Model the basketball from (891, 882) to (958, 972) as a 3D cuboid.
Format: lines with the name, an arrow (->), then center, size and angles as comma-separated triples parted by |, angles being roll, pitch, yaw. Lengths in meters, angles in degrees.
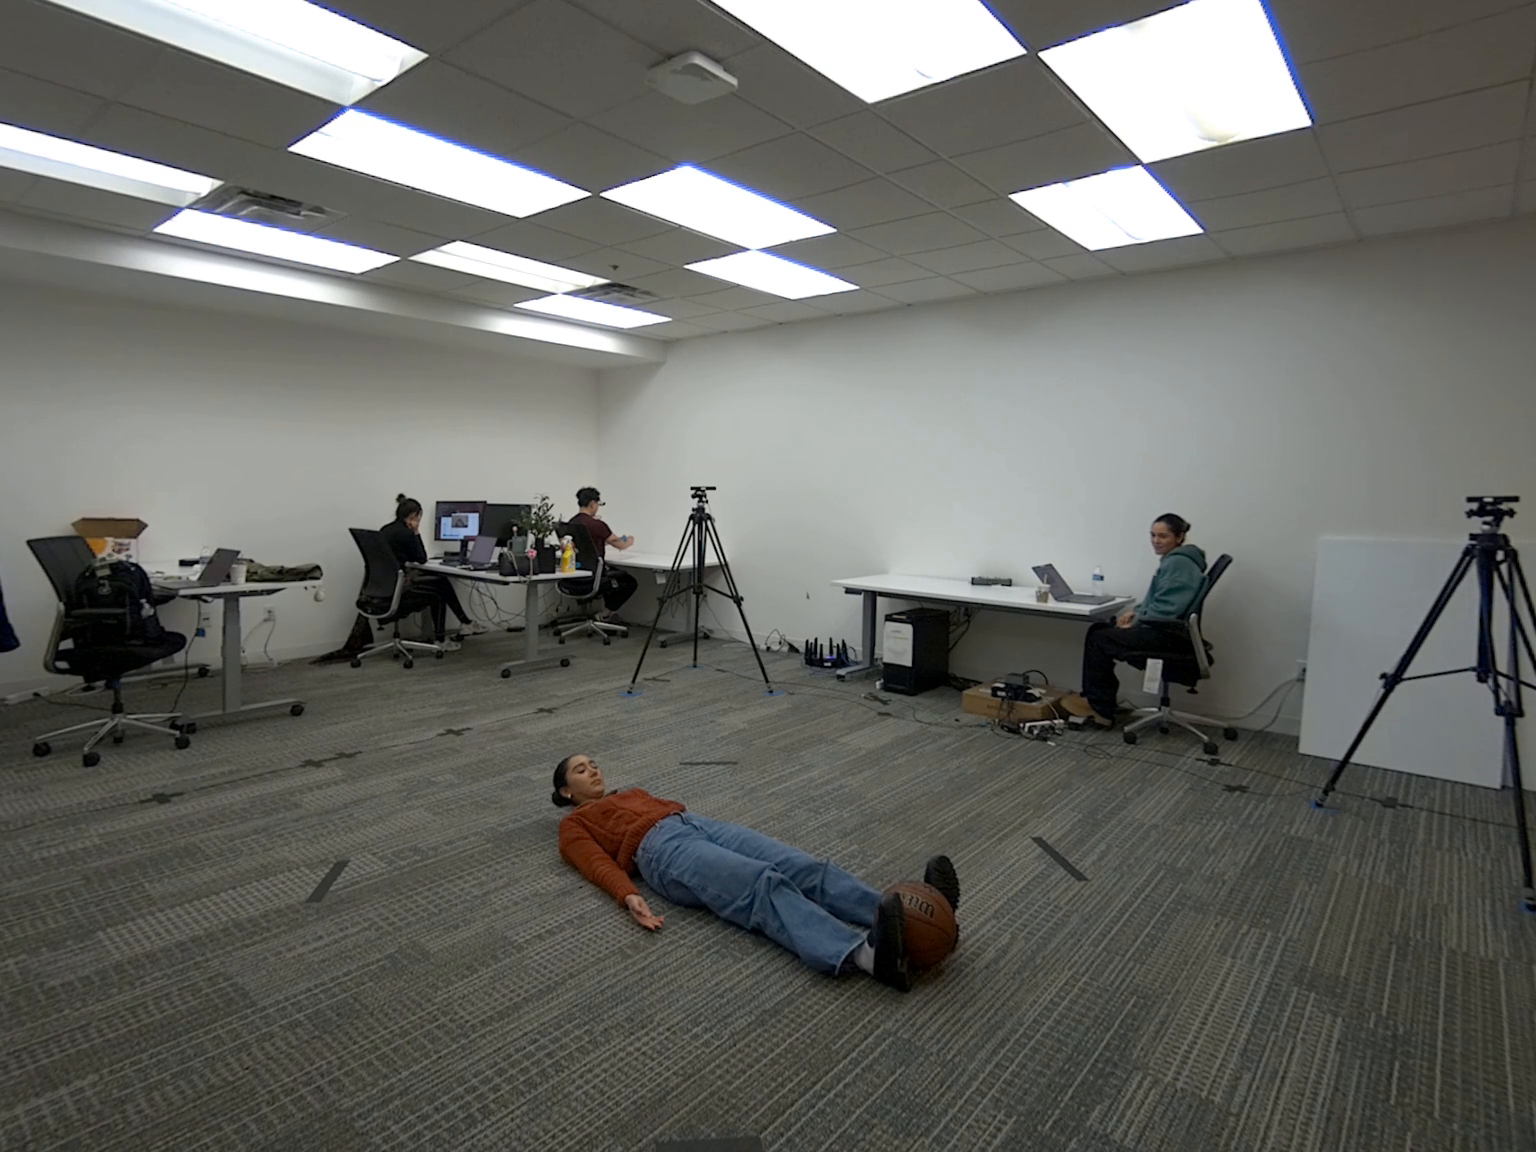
basketball -> 0.427, 1.014, 2.508 | 0.236, 0.235, 0.237 | 1, 4, -2
